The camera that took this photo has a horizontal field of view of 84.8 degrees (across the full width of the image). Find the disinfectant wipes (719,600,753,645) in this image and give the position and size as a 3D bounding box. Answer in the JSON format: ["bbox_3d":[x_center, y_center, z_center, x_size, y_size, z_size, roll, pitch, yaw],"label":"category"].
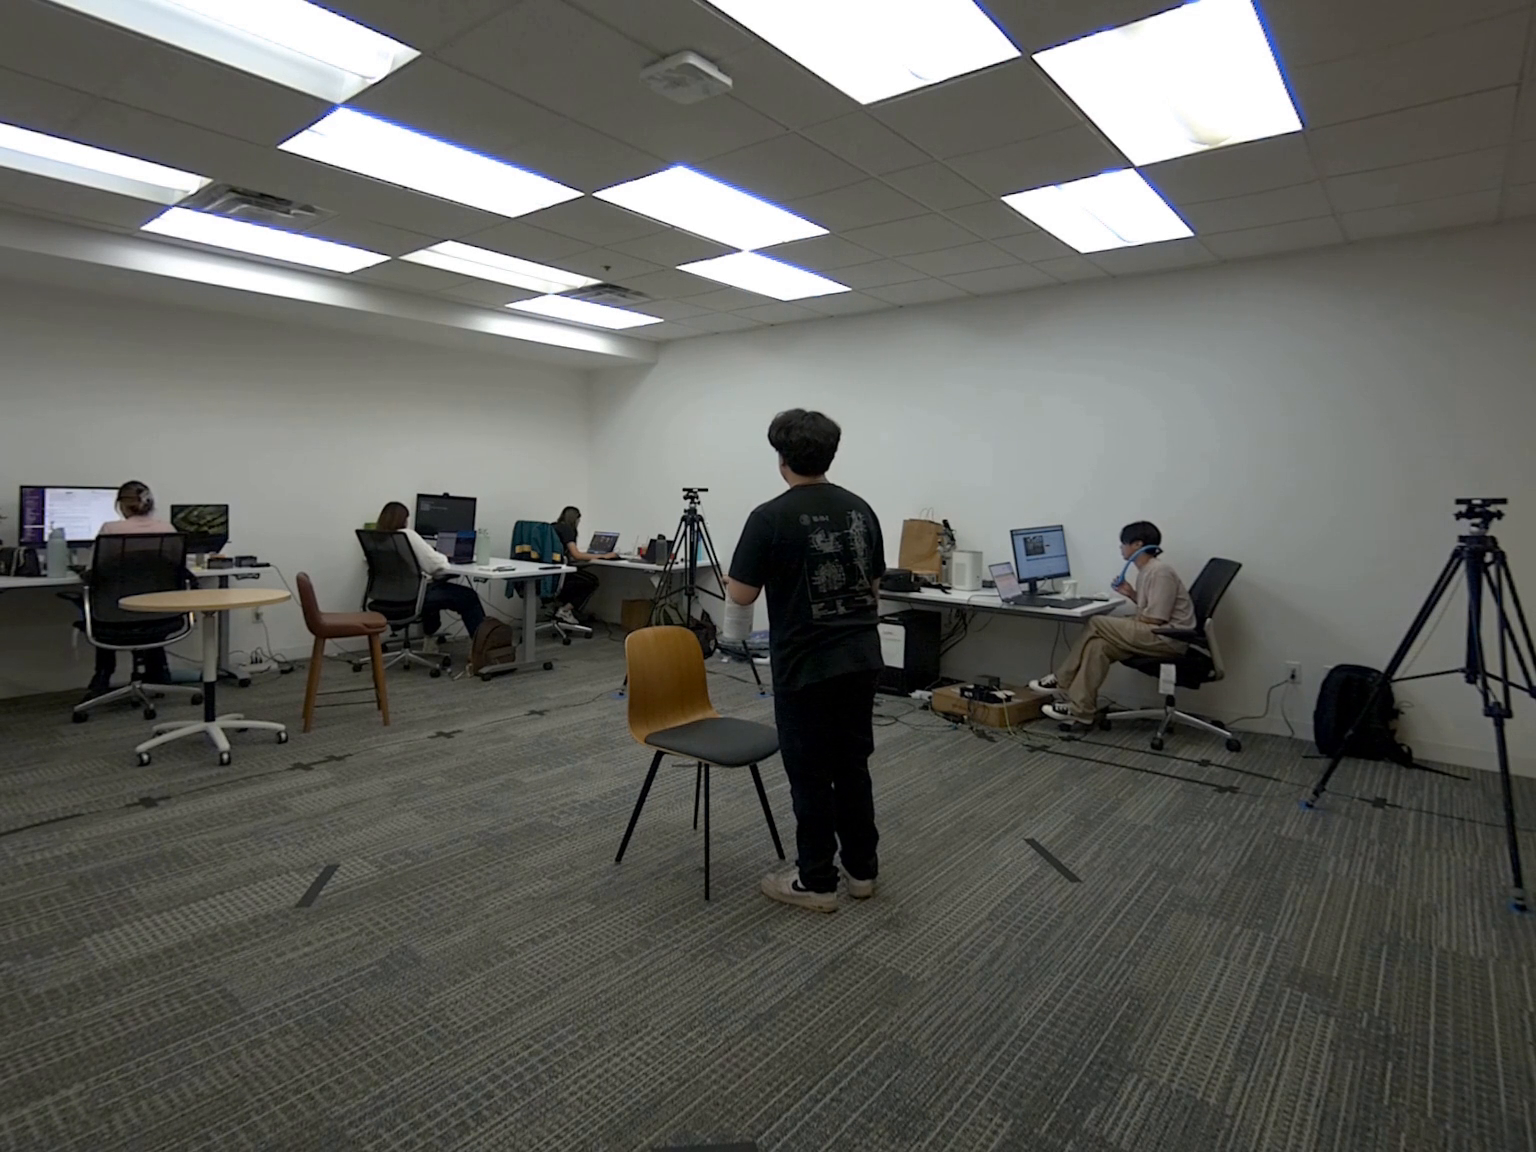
[{"bbox_3d":[-0.112,0.118,3.137,0.117,0.216,0.118,3,5,-2],"label":"disinfectant wipes"}]
